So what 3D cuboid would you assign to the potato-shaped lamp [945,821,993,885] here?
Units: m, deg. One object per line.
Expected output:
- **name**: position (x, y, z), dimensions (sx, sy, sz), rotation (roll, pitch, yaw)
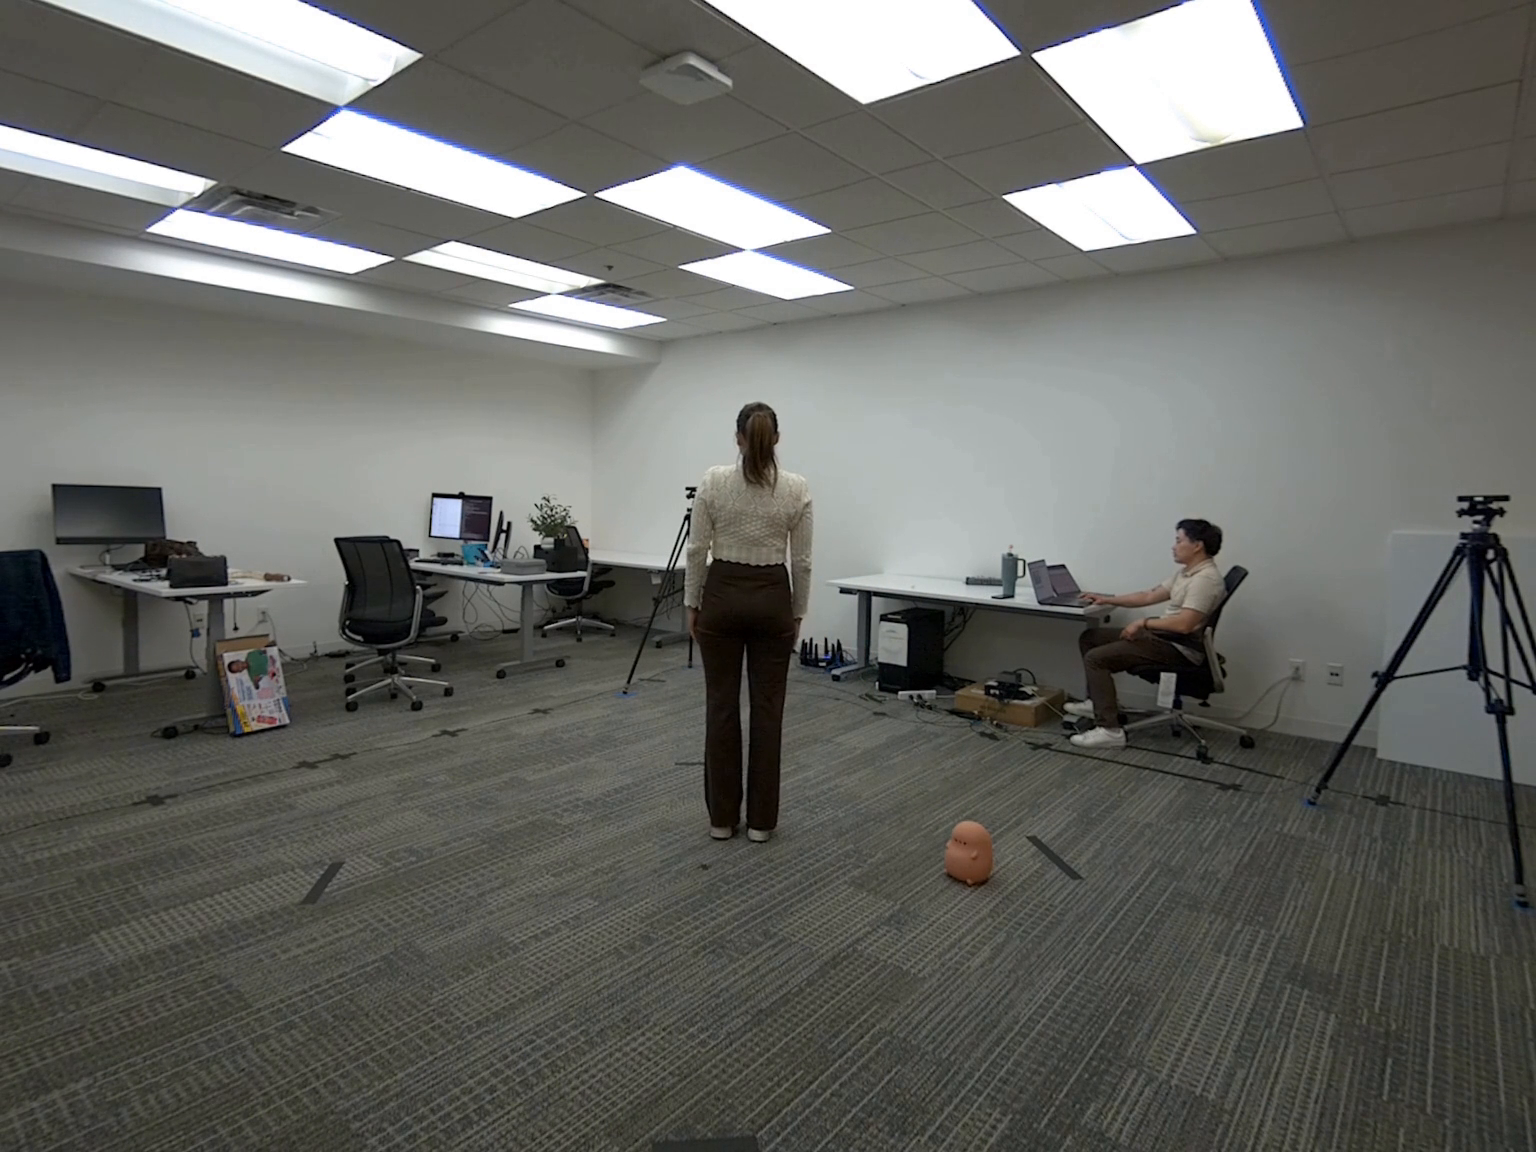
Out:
- **potato-shaped lamp**: position (0.723, 0.988, 3.088), dimensions (0.166, 0.197, 0.170), rotation (-1, 4, -36)
